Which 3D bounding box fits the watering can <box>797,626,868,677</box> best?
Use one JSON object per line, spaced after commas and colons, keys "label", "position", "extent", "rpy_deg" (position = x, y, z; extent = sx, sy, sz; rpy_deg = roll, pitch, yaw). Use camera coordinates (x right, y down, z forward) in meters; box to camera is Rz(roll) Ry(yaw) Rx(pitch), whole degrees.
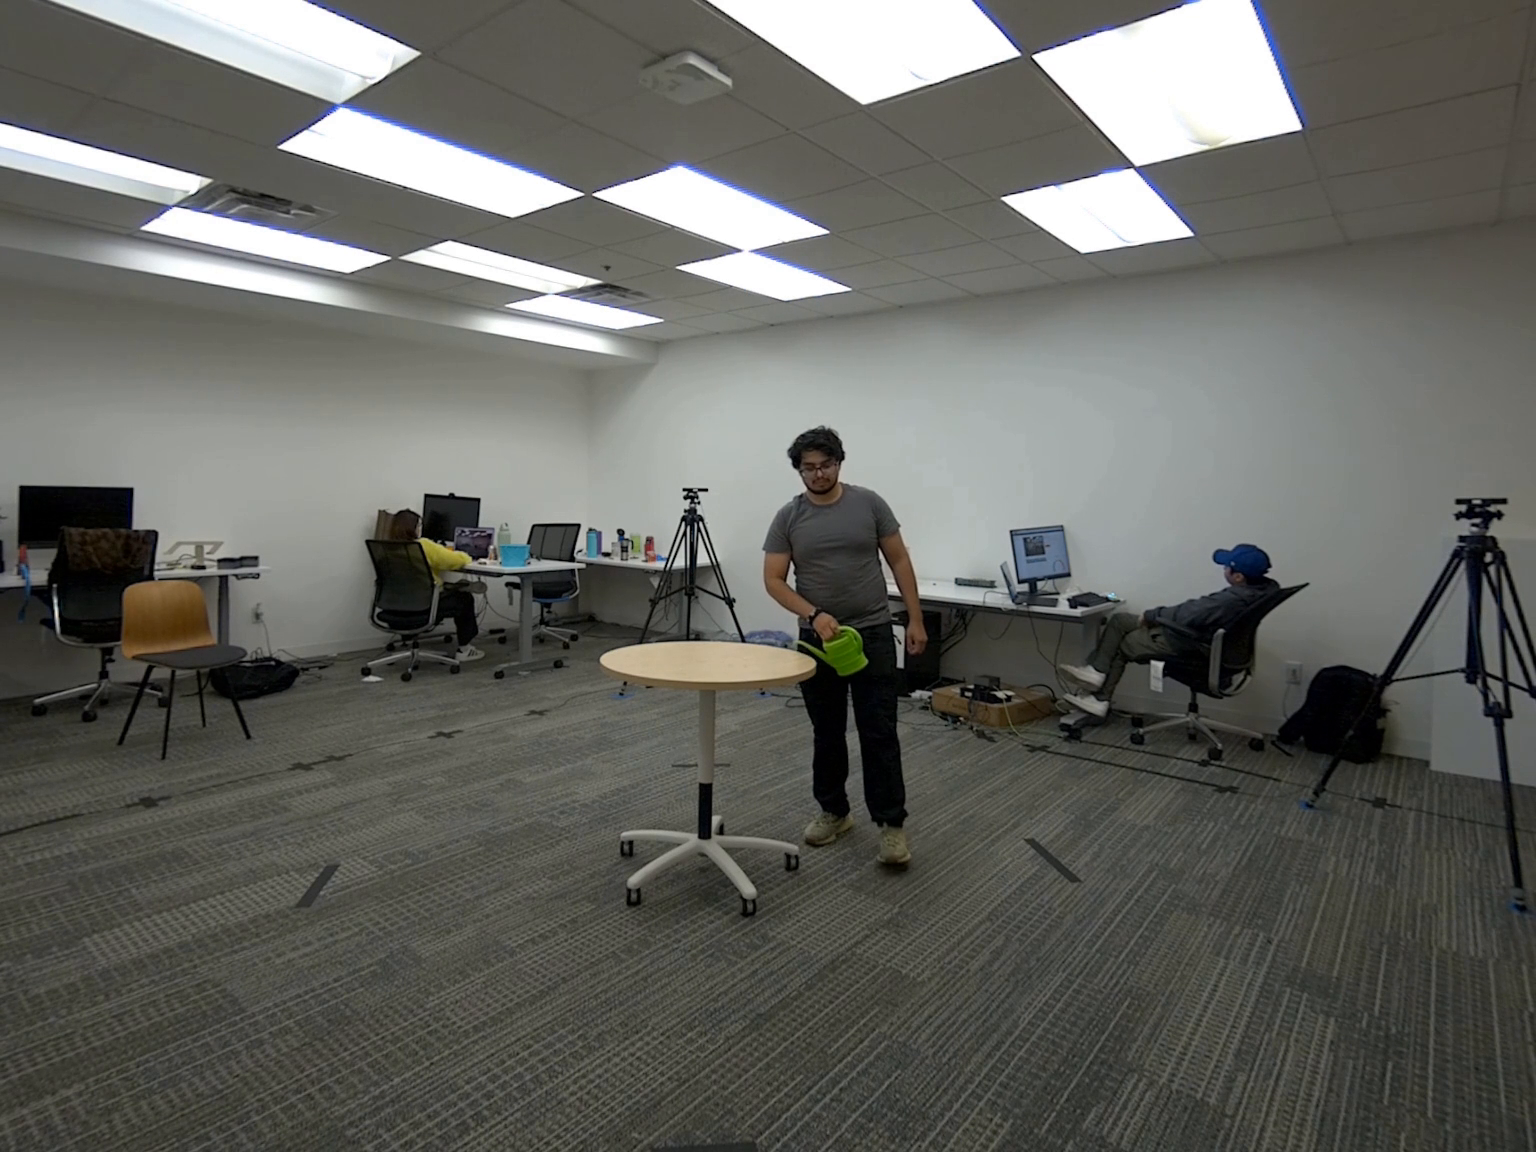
{"label": "watering can", "position": [0.242, 0.275, 3.202], "extent": [0.097, 0.175, 0.284], "rpy_deg": [-38, 12, -38]}
